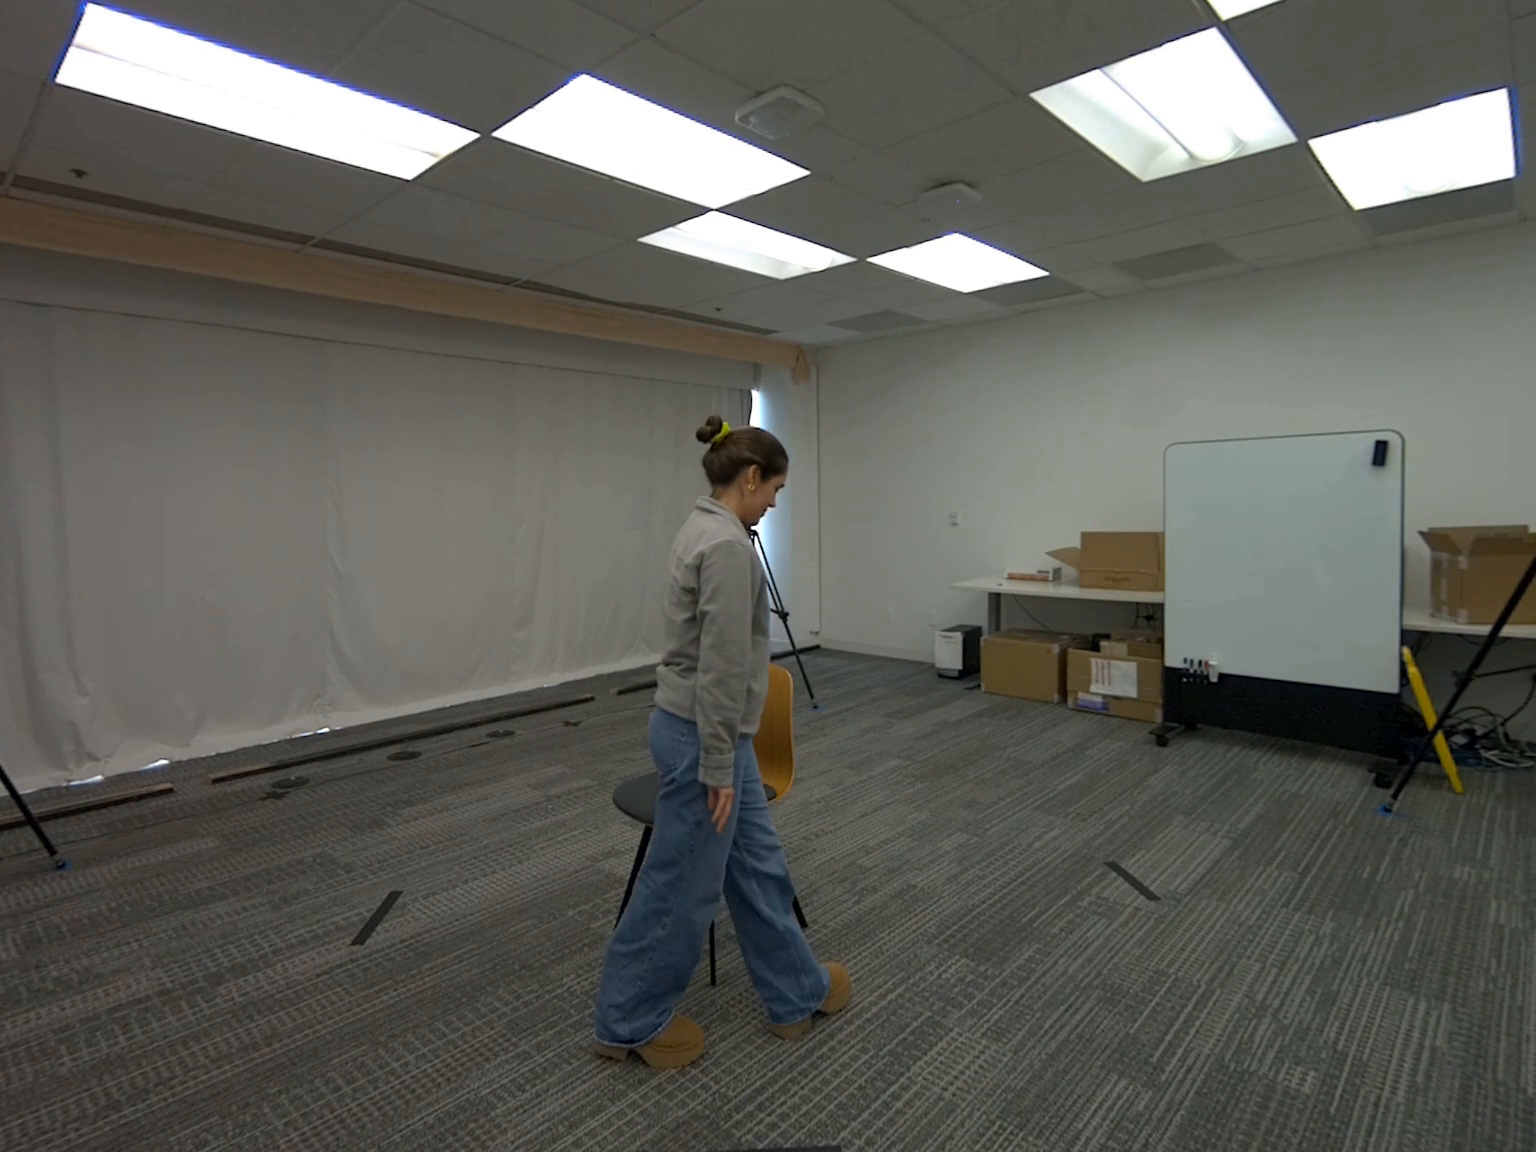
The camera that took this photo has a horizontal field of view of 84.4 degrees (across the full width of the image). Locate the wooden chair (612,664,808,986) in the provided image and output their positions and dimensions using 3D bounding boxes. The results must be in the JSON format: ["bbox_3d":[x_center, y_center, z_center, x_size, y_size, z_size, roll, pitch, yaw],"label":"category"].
[{"bbox_3d":[-0.195,0.735,2.713,0.494,0.877,0.506,2,0,42],"label":"wooden chair"}]
